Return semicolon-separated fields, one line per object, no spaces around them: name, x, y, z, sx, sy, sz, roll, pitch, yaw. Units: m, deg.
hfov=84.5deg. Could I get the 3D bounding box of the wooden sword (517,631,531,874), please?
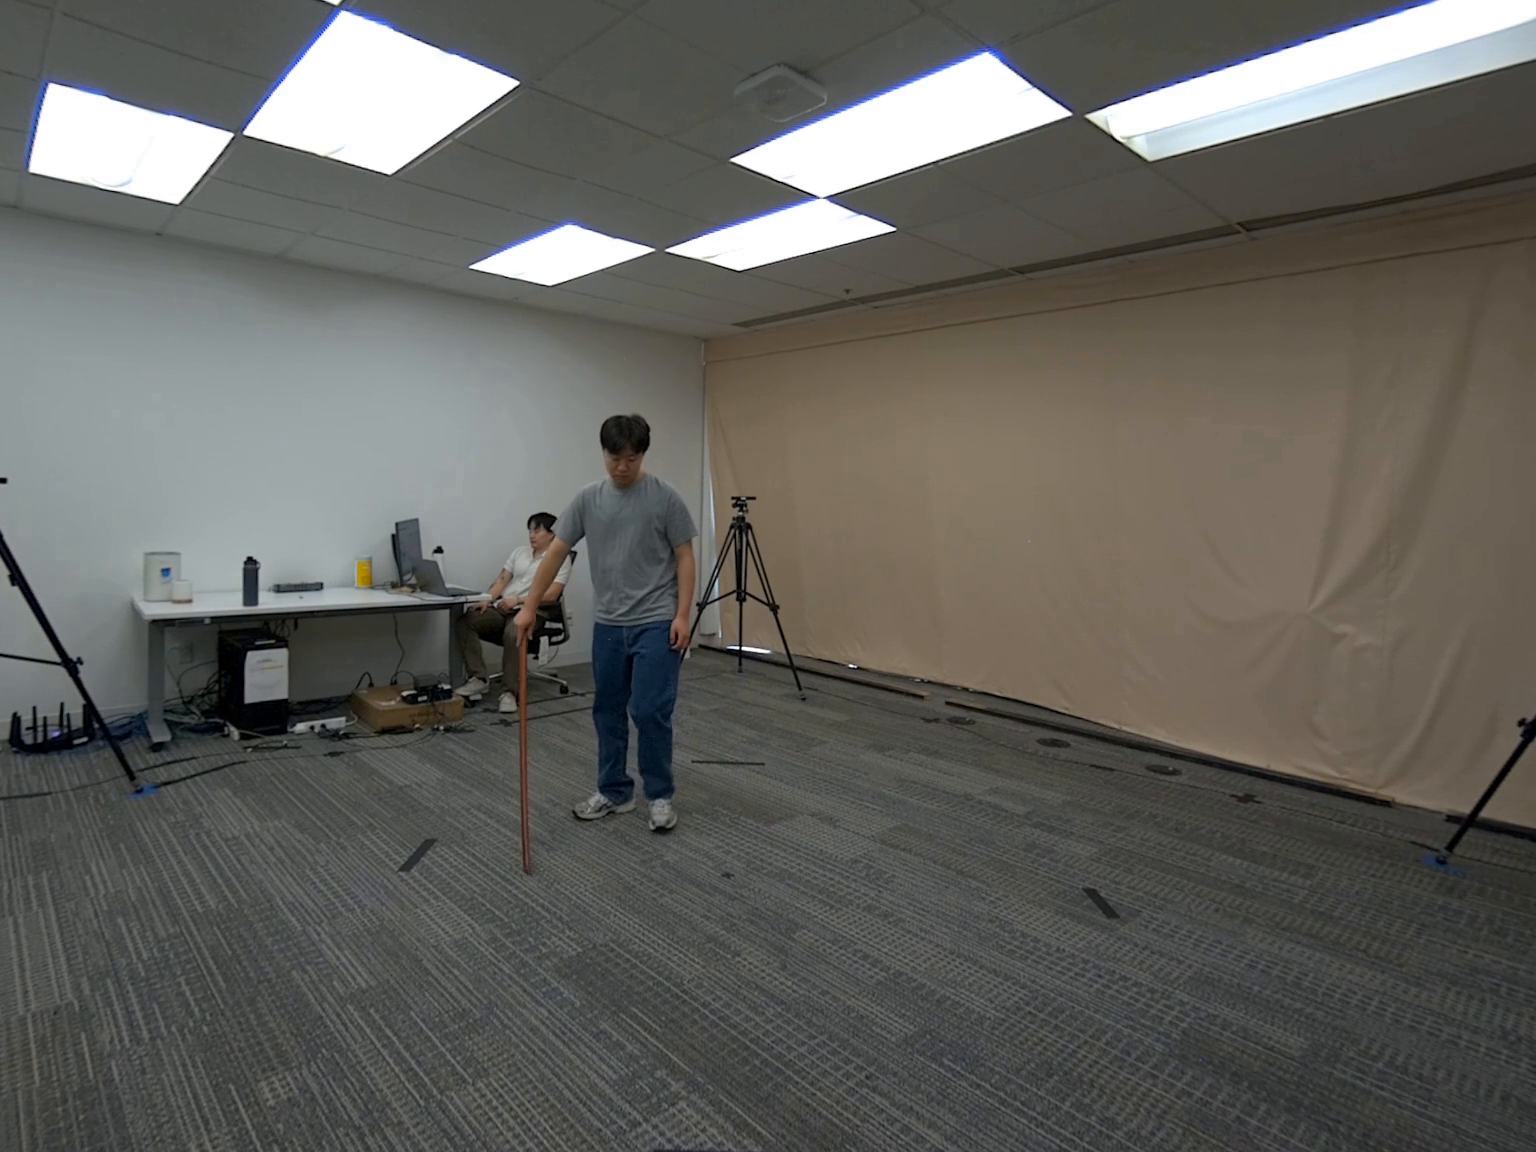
wooden sword;-0.953;0.651;3.324;0.050;1.048;0.024;1;-31;-22
